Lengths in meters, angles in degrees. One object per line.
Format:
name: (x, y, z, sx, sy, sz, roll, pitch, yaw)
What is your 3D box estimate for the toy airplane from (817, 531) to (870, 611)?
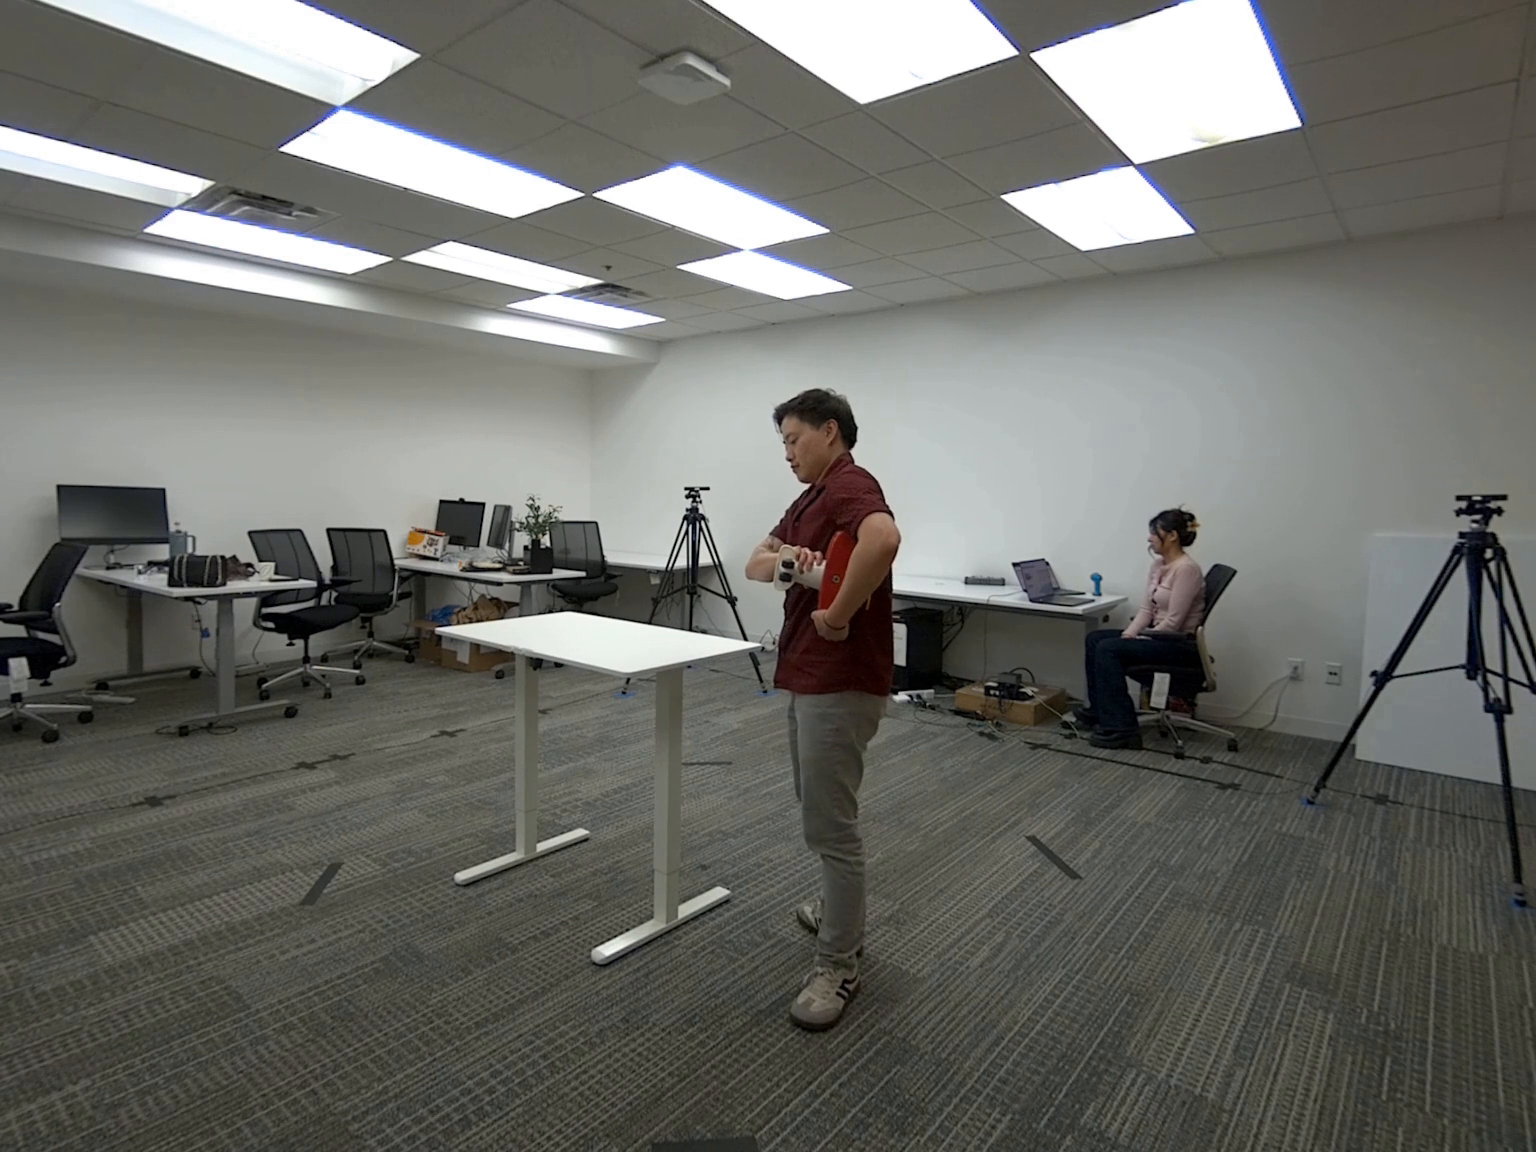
toy airplane: (0.120, -0.027, 2.243, 0.264, 0.251, 0.154, 40, 11, 12)
